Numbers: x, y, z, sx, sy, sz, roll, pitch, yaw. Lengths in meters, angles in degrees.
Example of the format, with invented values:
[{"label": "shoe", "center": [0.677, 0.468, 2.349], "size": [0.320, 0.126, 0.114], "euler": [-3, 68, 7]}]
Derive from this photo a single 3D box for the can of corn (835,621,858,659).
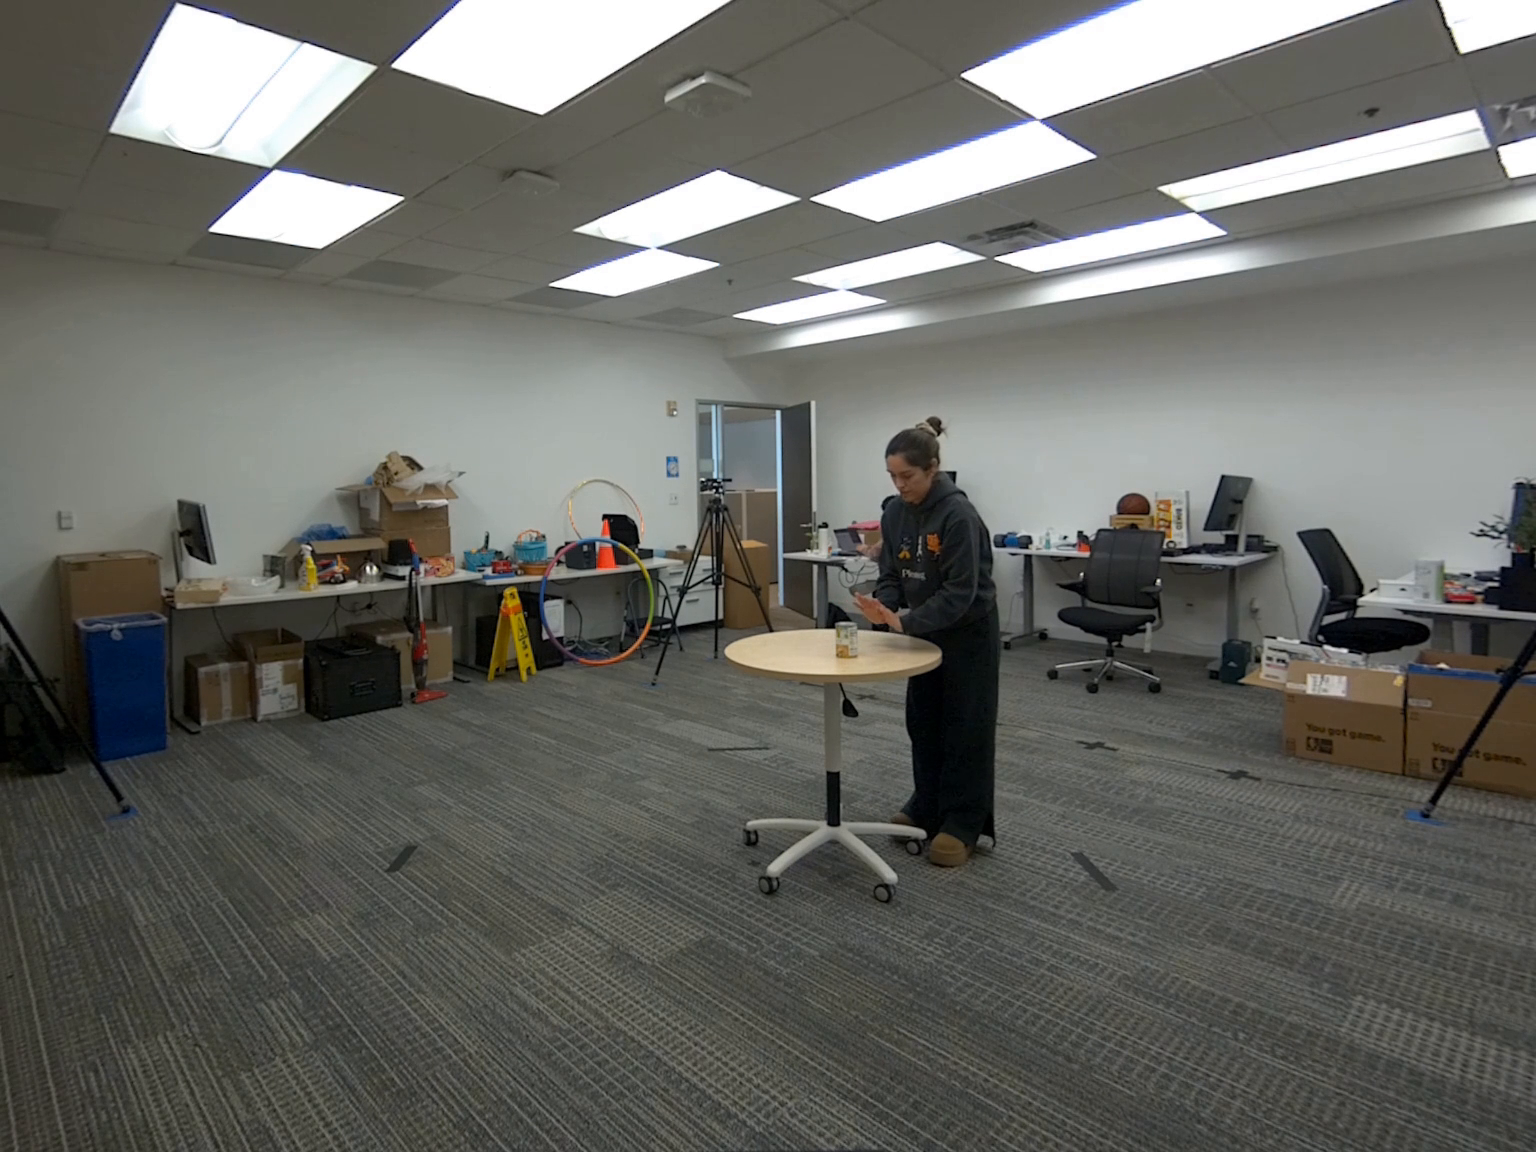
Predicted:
[{"label": "can of corn", "center": [0.278, 0.223, 2.919], "size": [0.074, 0.110, 0.074], "euler": [-1, 5, -2]}]
